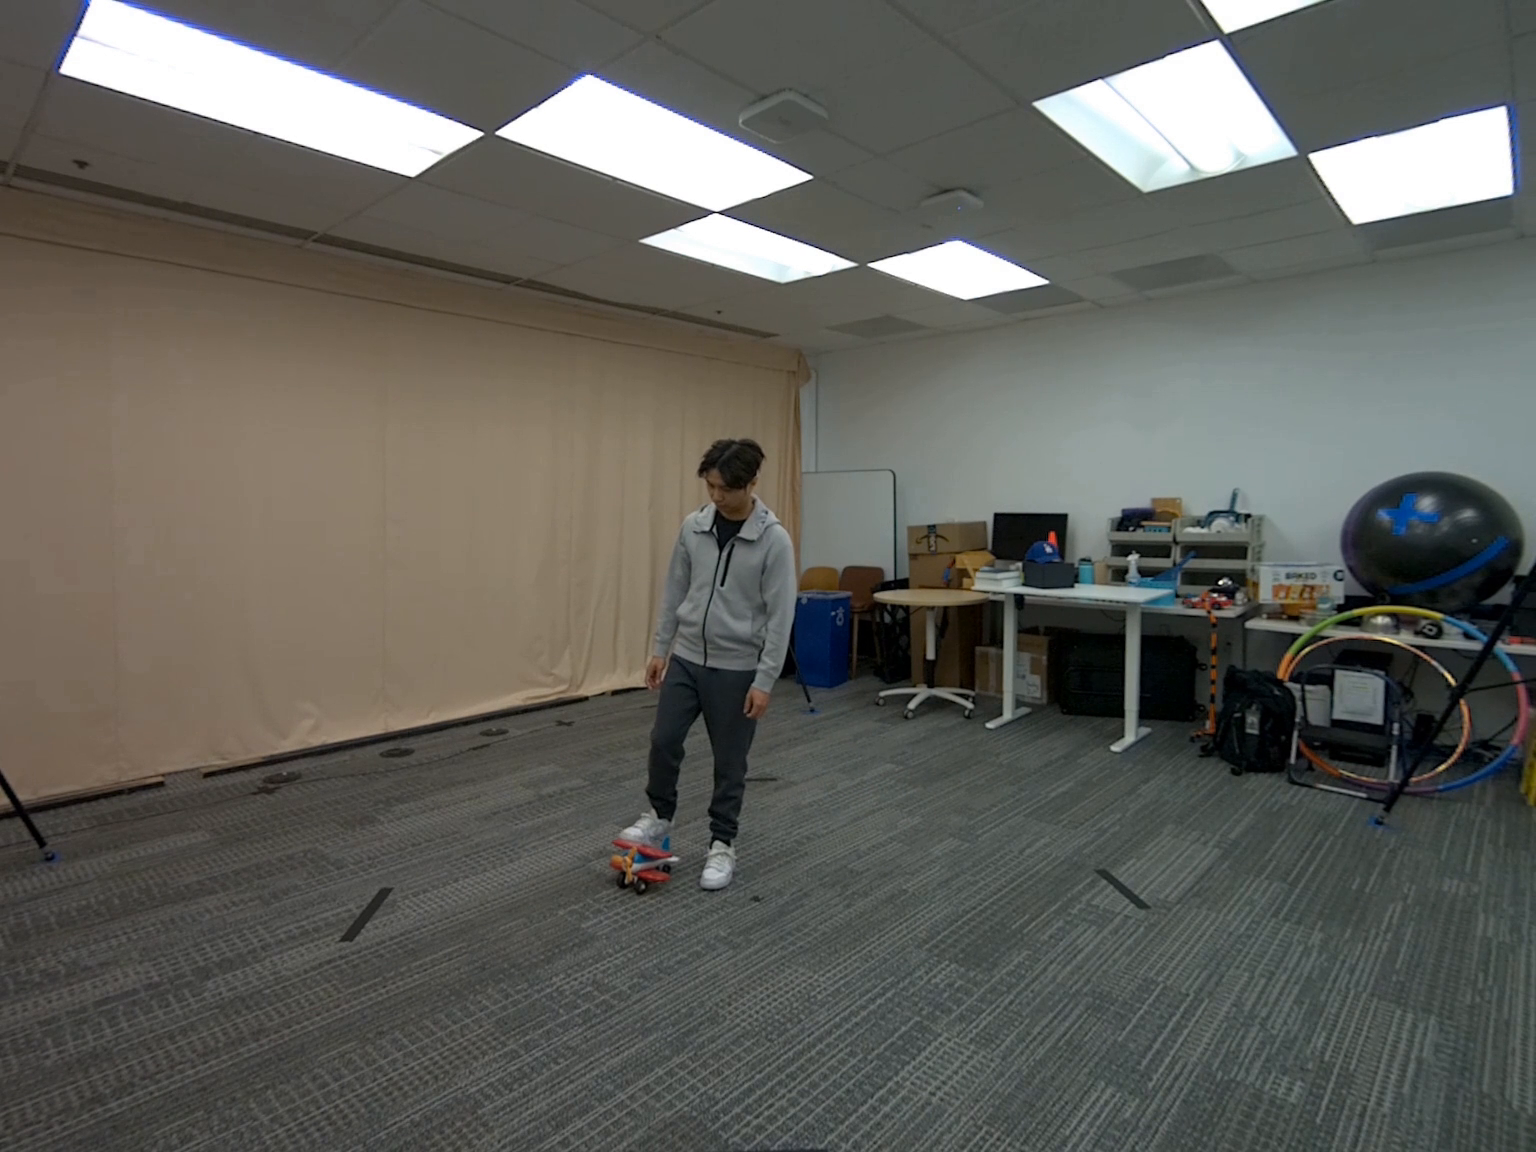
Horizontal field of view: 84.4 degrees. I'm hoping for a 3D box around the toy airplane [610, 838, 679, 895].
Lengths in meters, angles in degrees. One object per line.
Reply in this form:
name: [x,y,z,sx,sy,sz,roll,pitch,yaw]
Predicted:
toy airplane: [-0.467,1.055,3.132,0.253,0.156,0.258,-1,5,5]
